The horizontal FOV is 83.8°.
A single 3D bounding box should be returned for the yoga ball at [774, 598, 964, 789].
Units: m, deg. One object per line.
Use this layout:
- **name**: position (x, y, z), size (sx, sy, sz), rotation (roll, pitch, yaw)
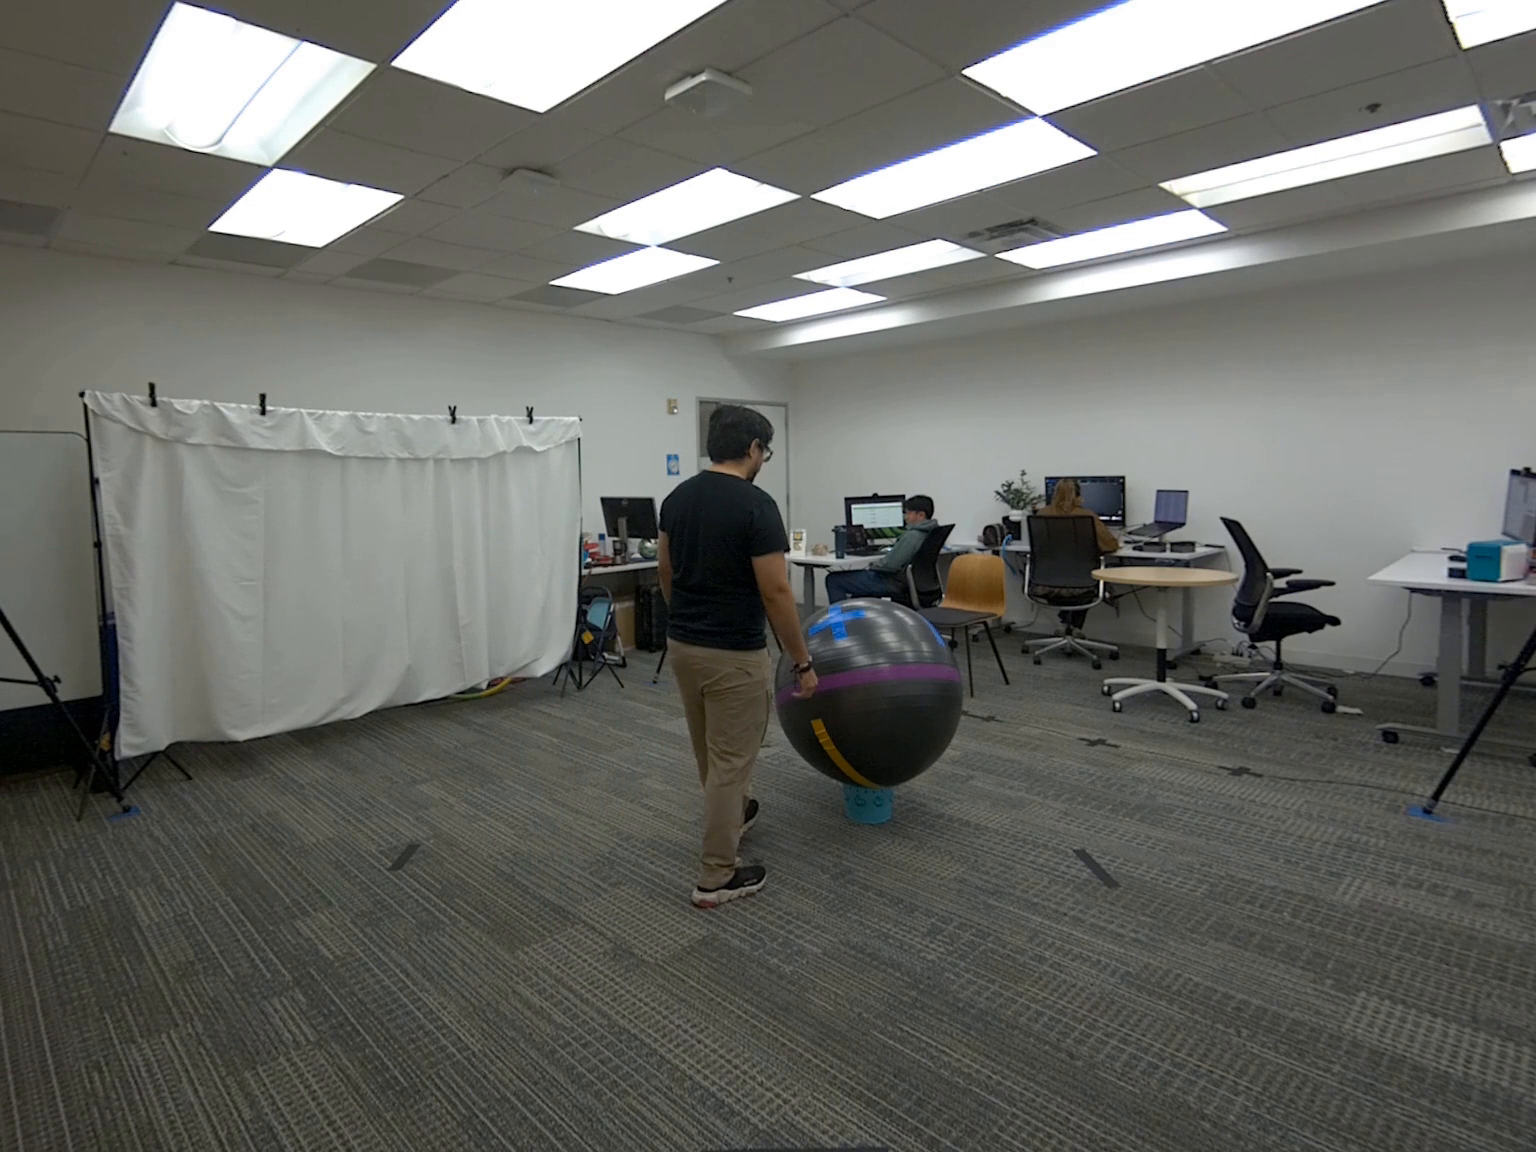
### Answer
- **yoga ball**: position (0.406, 0.475, 3.502), size (0.757, 0.755, 0.762), rotation (-1, 5, -2)
